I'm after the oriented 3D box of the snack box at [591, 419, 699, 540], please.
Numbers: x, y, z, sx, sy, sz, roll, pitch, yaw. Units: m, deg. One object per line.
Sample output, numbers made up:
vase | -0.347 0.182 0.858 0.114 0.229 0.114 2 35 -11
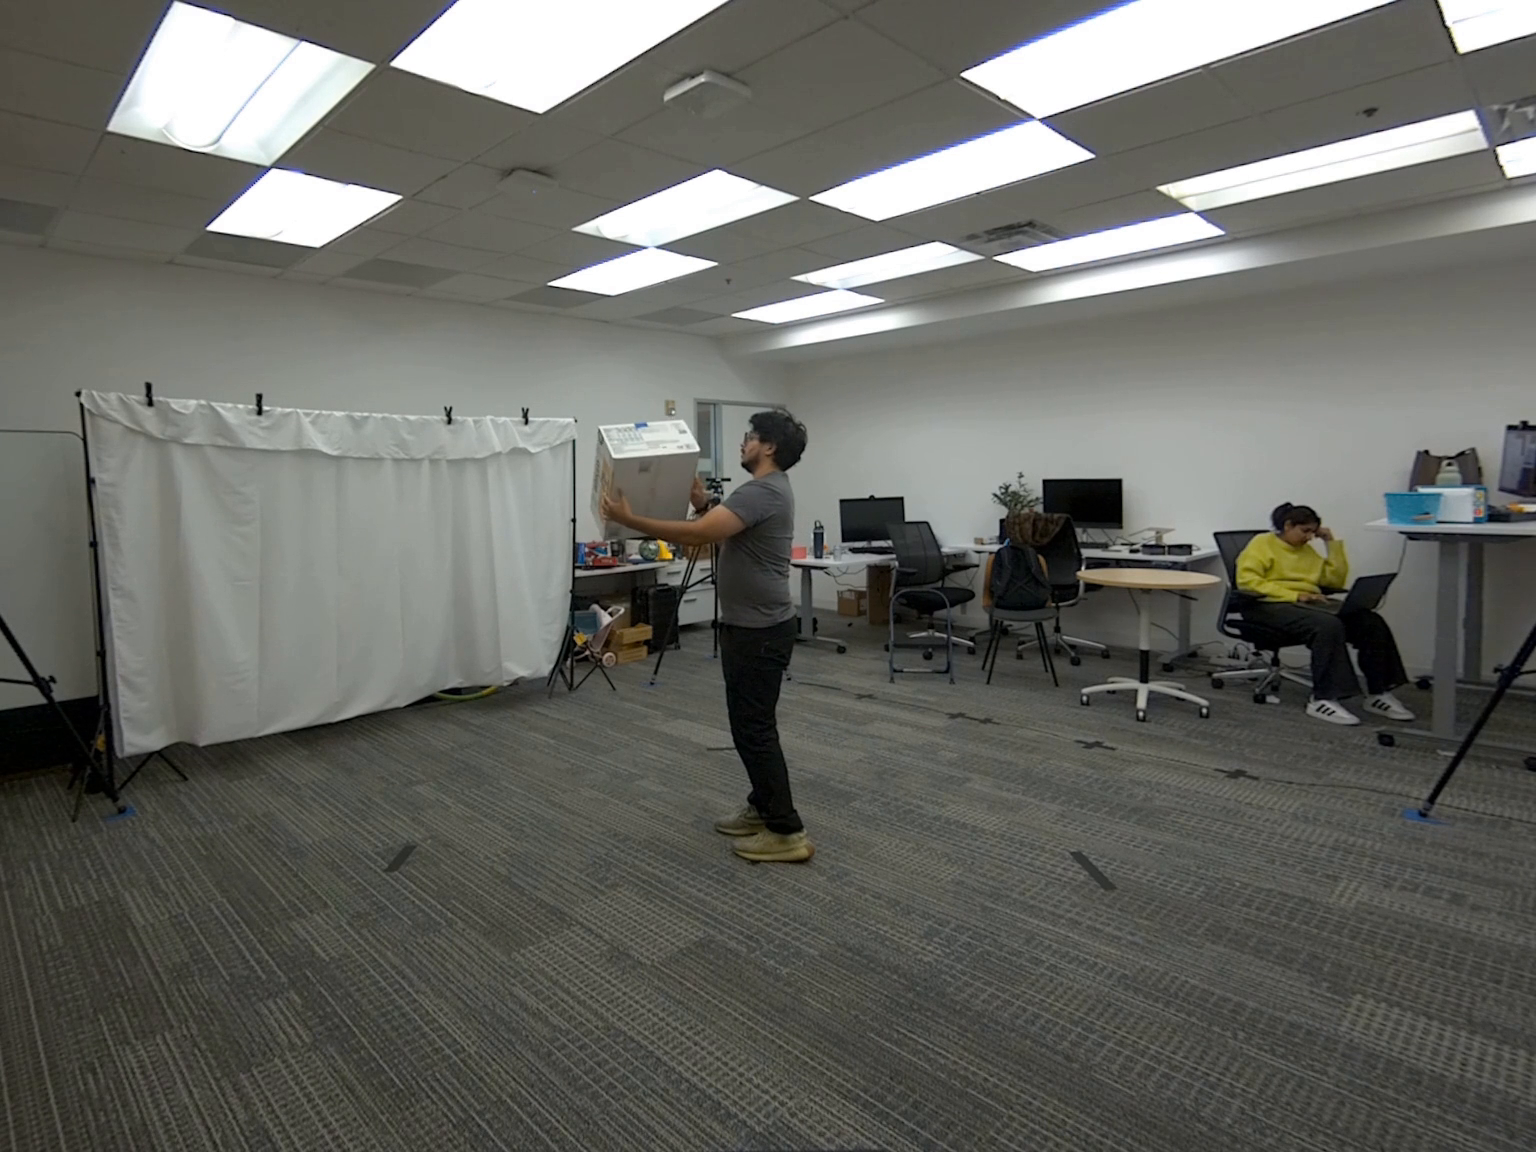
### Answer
snack box | -0.473 -0.368 3.291 0.334 0.397 0.213 -8 46 -24
